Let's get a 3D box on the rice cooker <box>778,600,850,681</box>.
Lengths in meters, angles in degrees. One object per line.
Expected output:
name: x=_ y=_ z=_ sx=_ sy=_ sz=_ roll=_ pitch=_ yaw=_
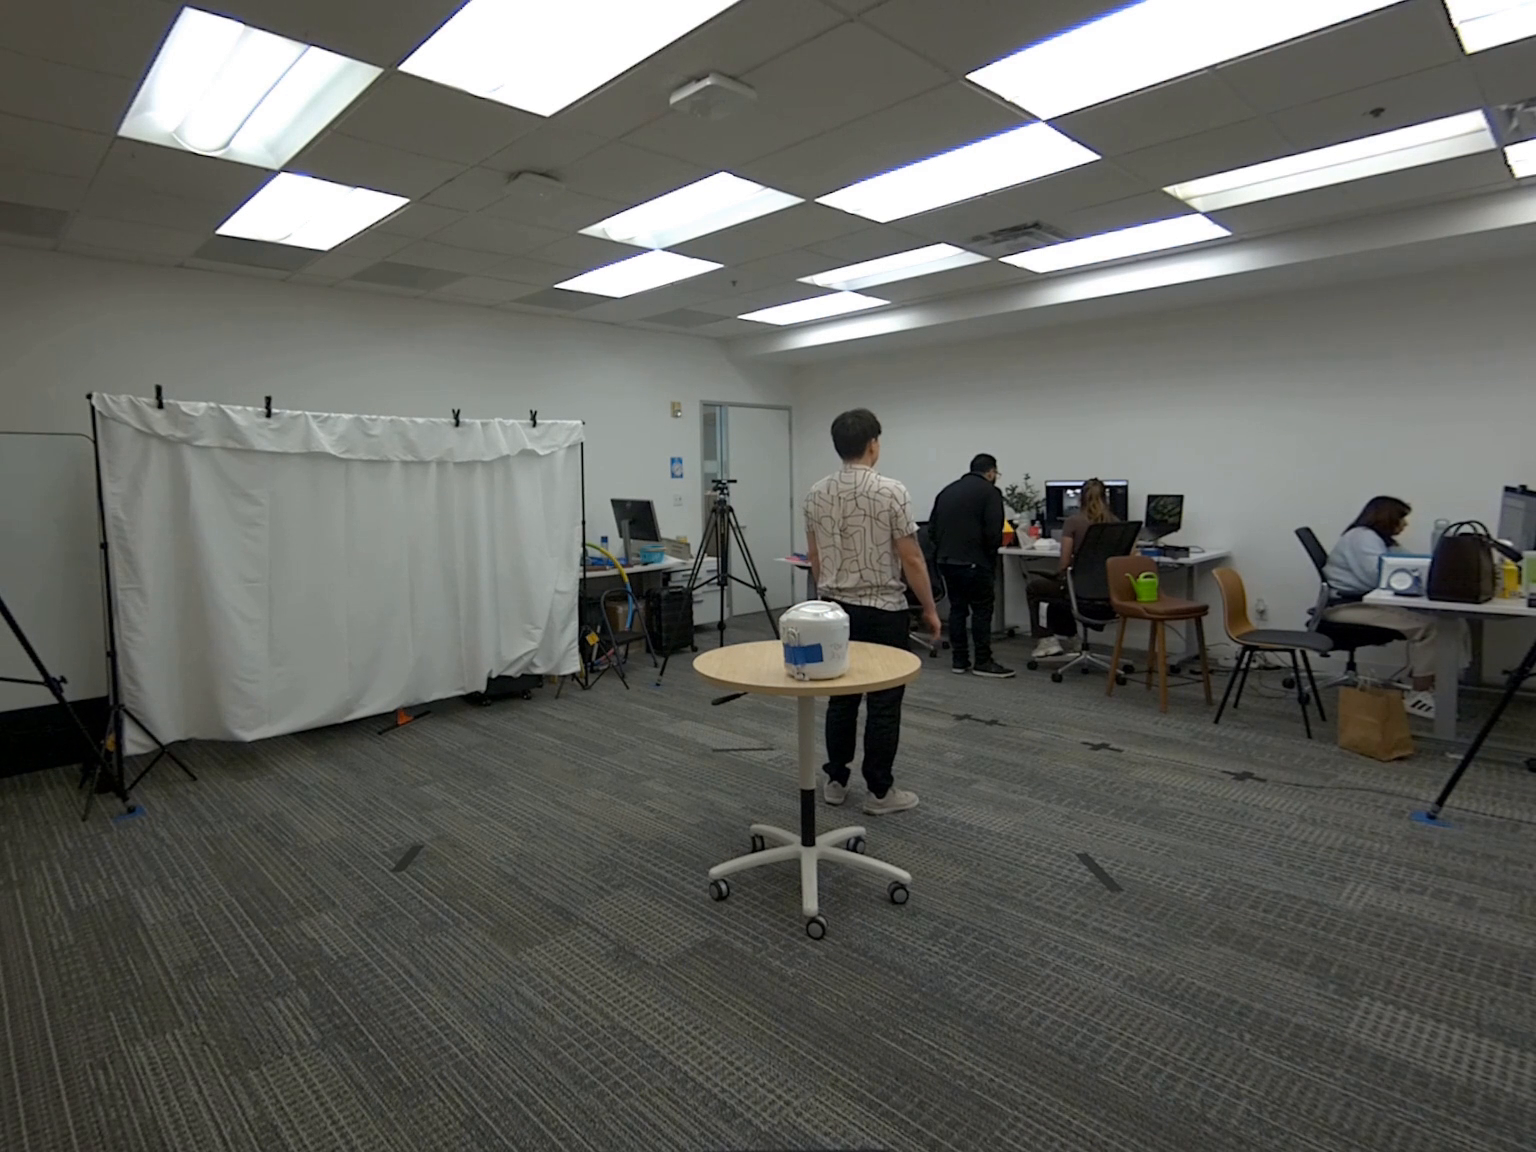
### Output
rice cooker: x=0.149 y=0.193 z=2.681 sx=0.219 sy=0.232 sz=0.220 roll=-1 pitch=5 yaw=-8
